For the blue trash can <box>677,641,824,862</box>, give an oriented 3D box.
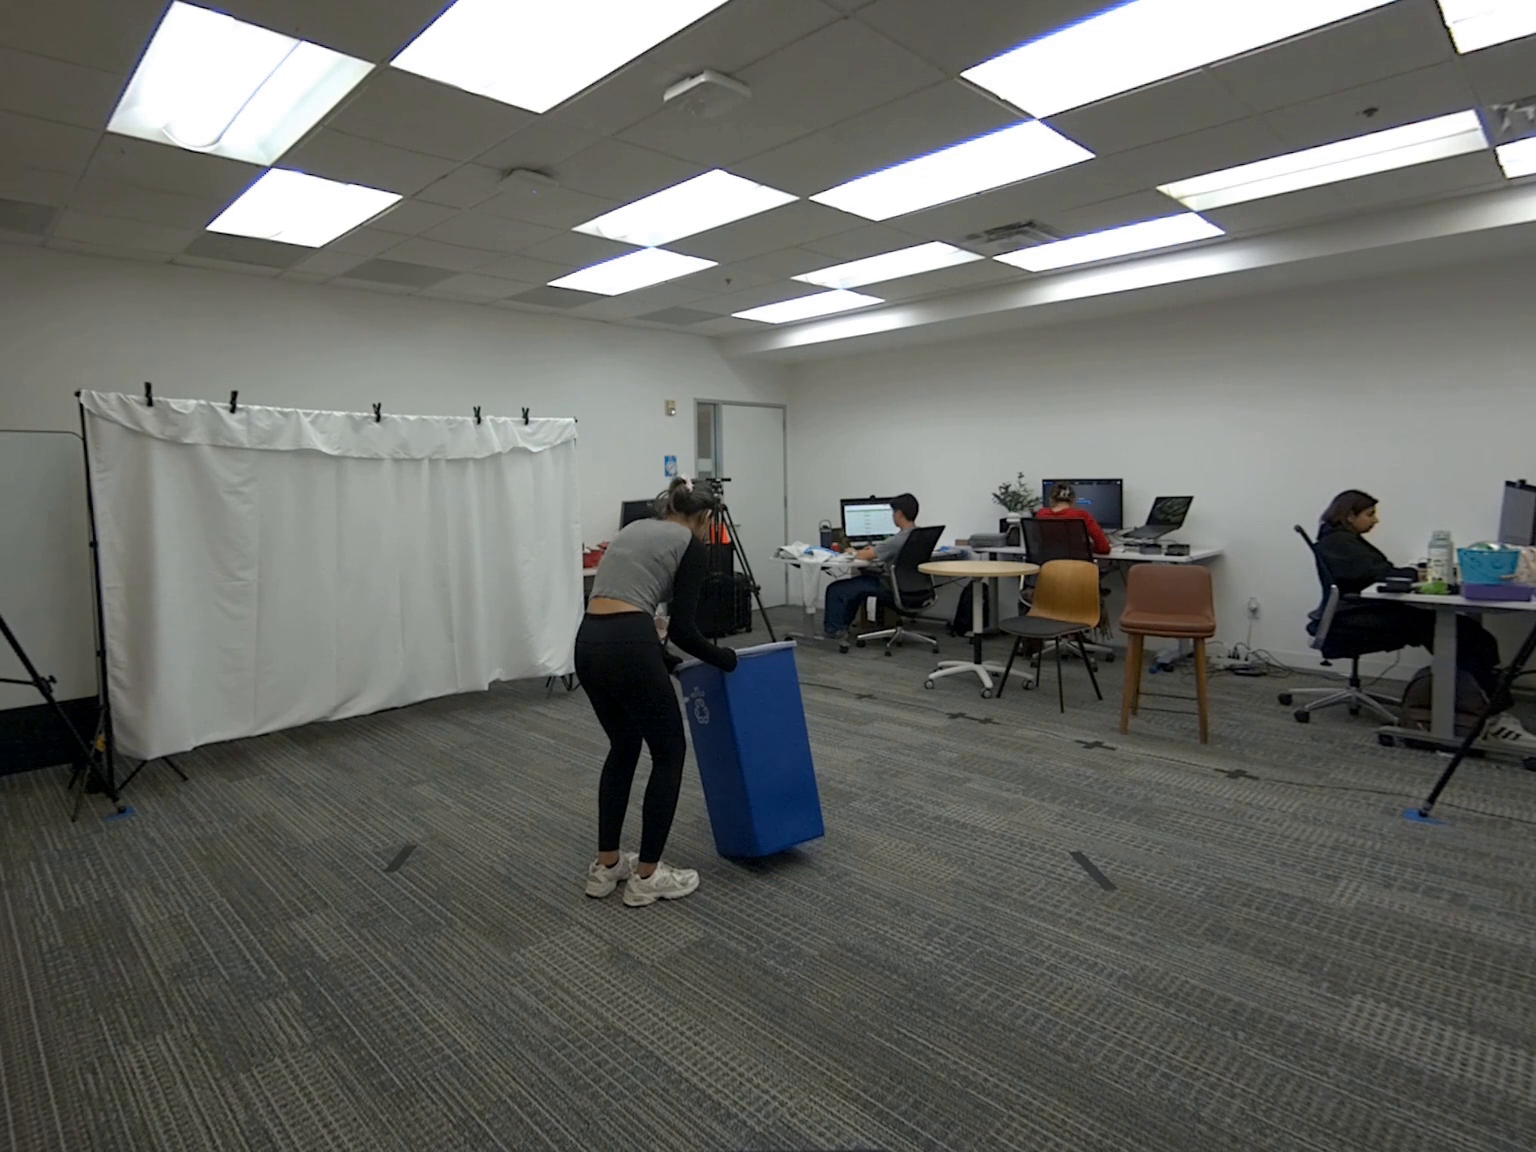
[{"bbox_3d":[-0.064,0.643,3.210,0.365,0.722,0.383,-4,-13,-34],"label":"blue trash can"}]
